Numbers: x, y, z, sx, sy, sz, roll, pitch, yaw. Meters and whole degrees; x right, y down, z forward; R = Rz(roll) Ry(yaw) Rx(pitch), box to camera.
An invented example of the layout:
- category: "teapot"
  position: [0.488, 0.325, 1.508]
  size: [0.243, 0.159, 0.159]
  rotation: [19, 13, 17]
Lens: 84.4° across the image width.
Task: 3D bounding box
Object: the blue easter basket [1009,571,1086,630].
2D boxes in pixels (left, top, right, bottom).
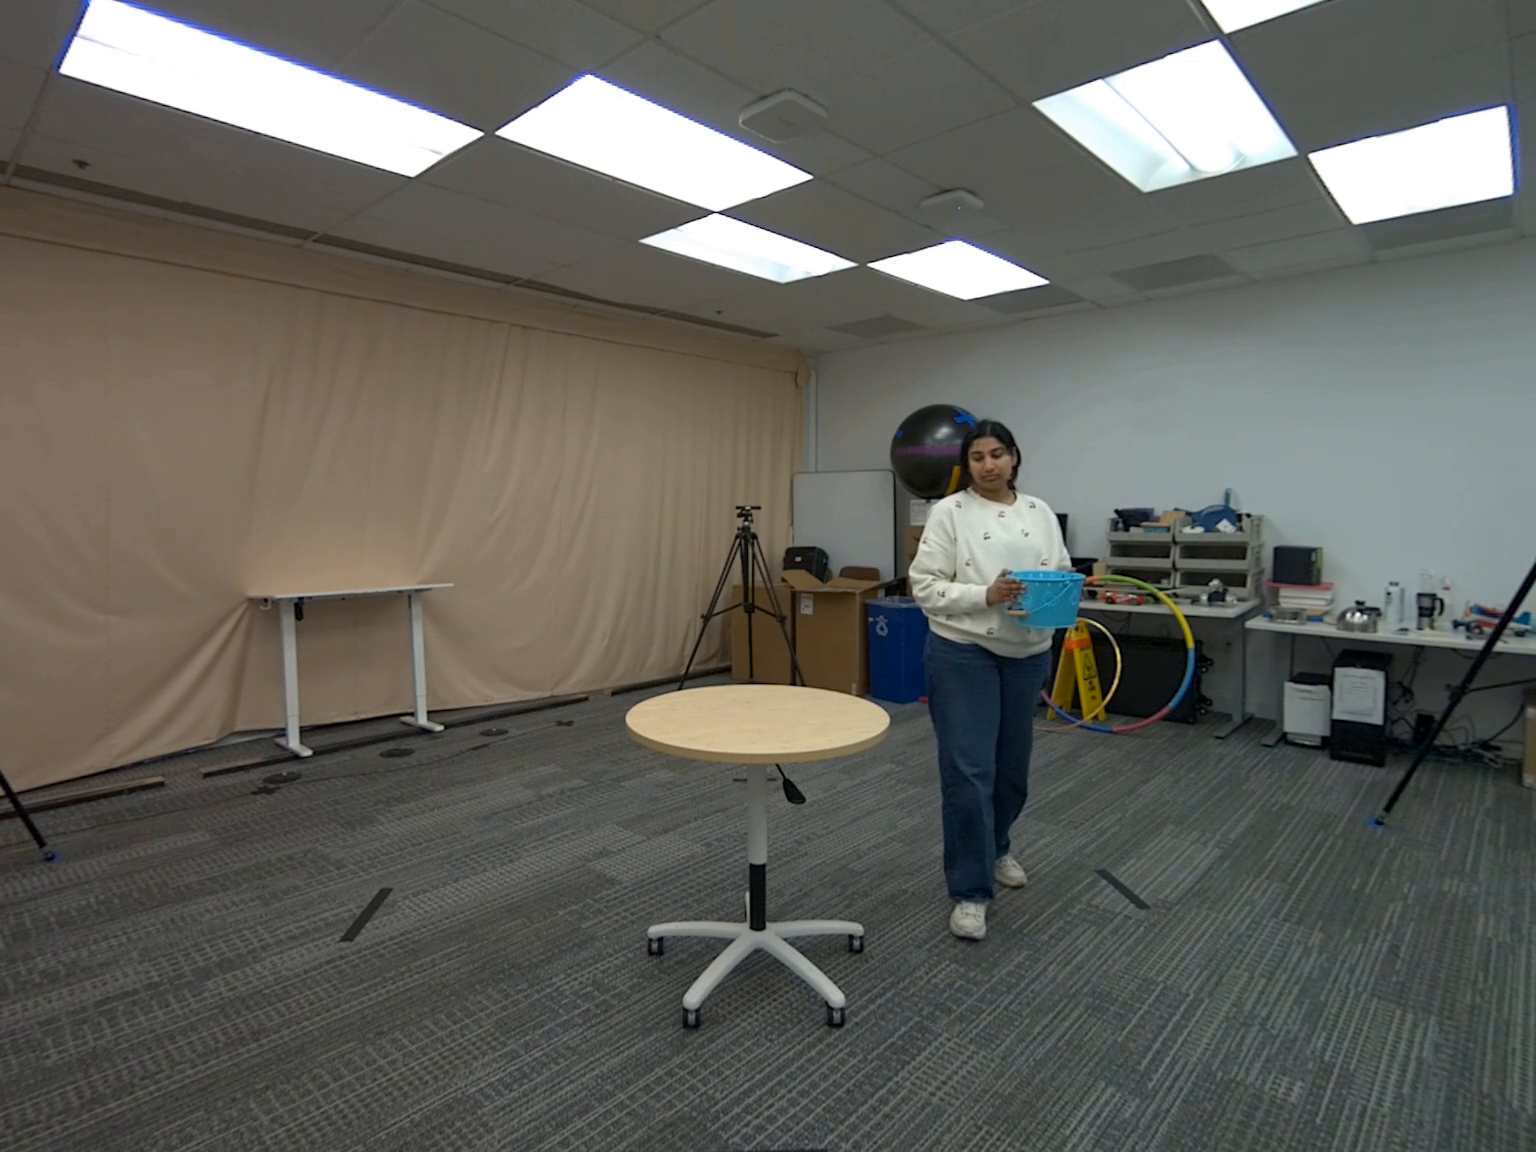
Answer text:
- category: "blue easter basket"
  position: [0.863, 0.075, 2.645]
  size: [0.243, 0.155, 0.244]
  rotation: [-1, 4, -2]
